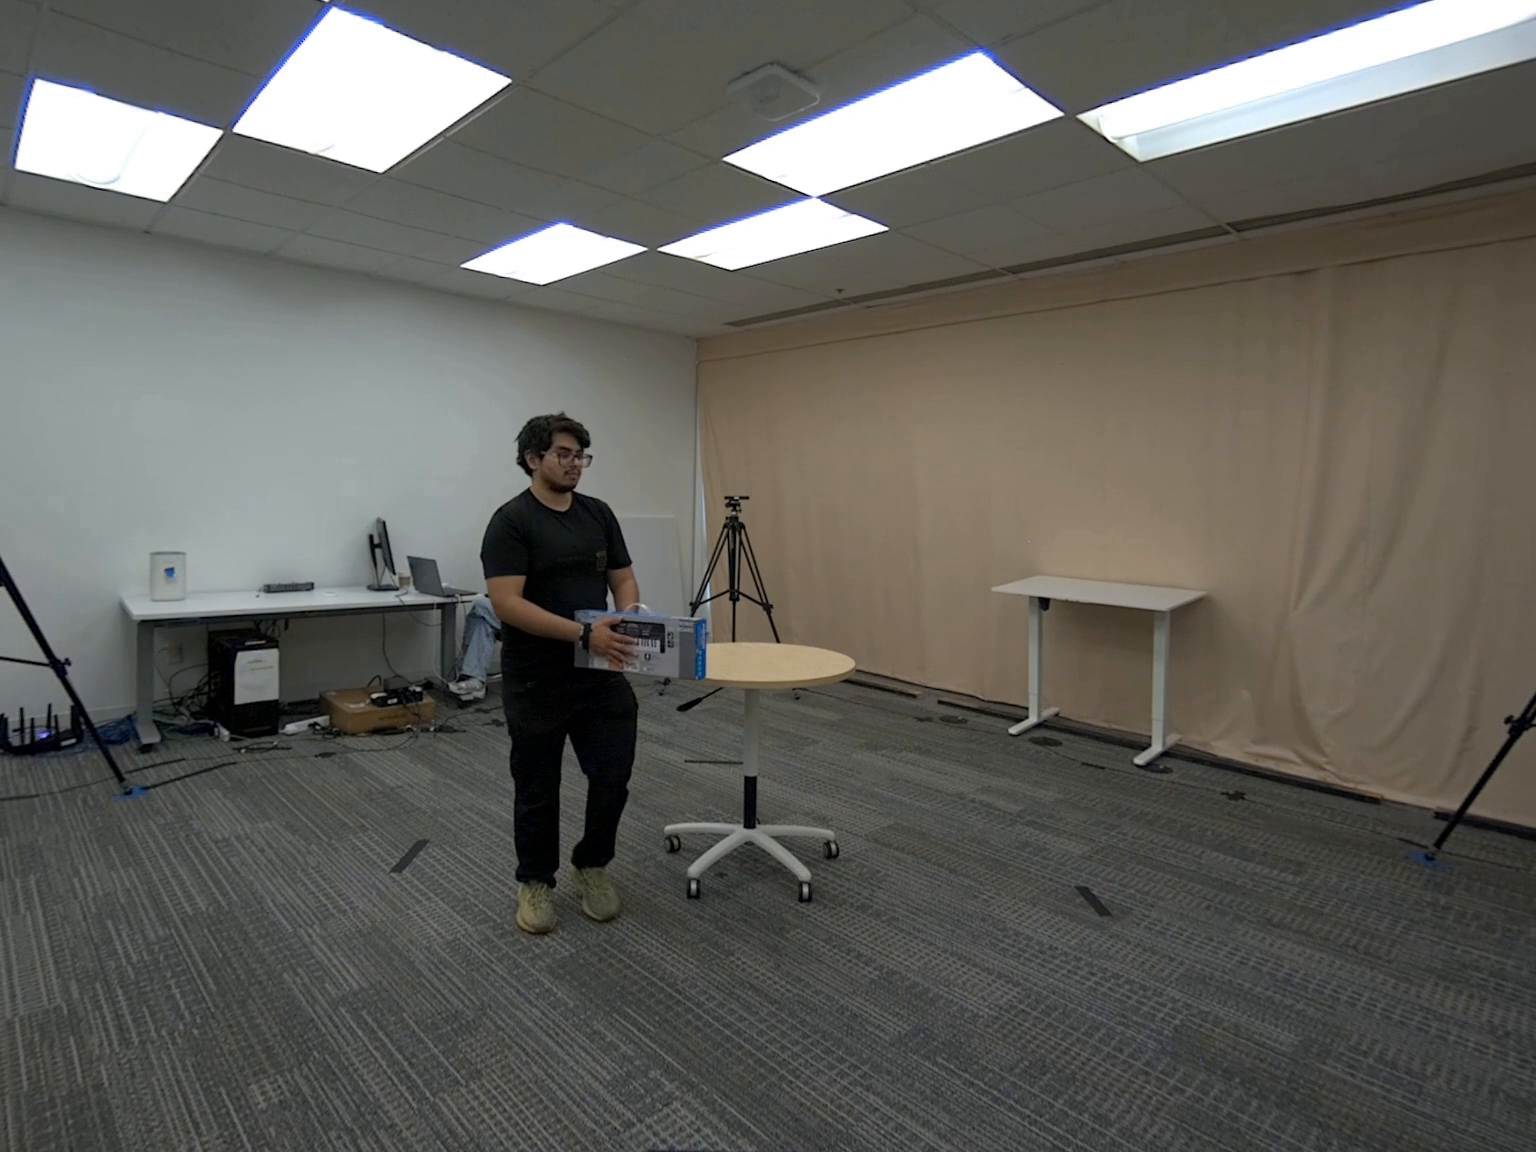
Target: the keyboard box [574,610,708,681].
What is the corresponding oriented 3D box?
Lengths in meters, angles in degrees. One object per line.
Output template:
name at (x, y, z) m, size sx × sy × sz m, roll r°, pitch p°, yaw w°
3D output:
keyboard box at (-0.387, 0.199, 2.488) m, size 0.446 × 0.175 × 0.058 m, roll 1°, pitch 4°, yaw 28°
